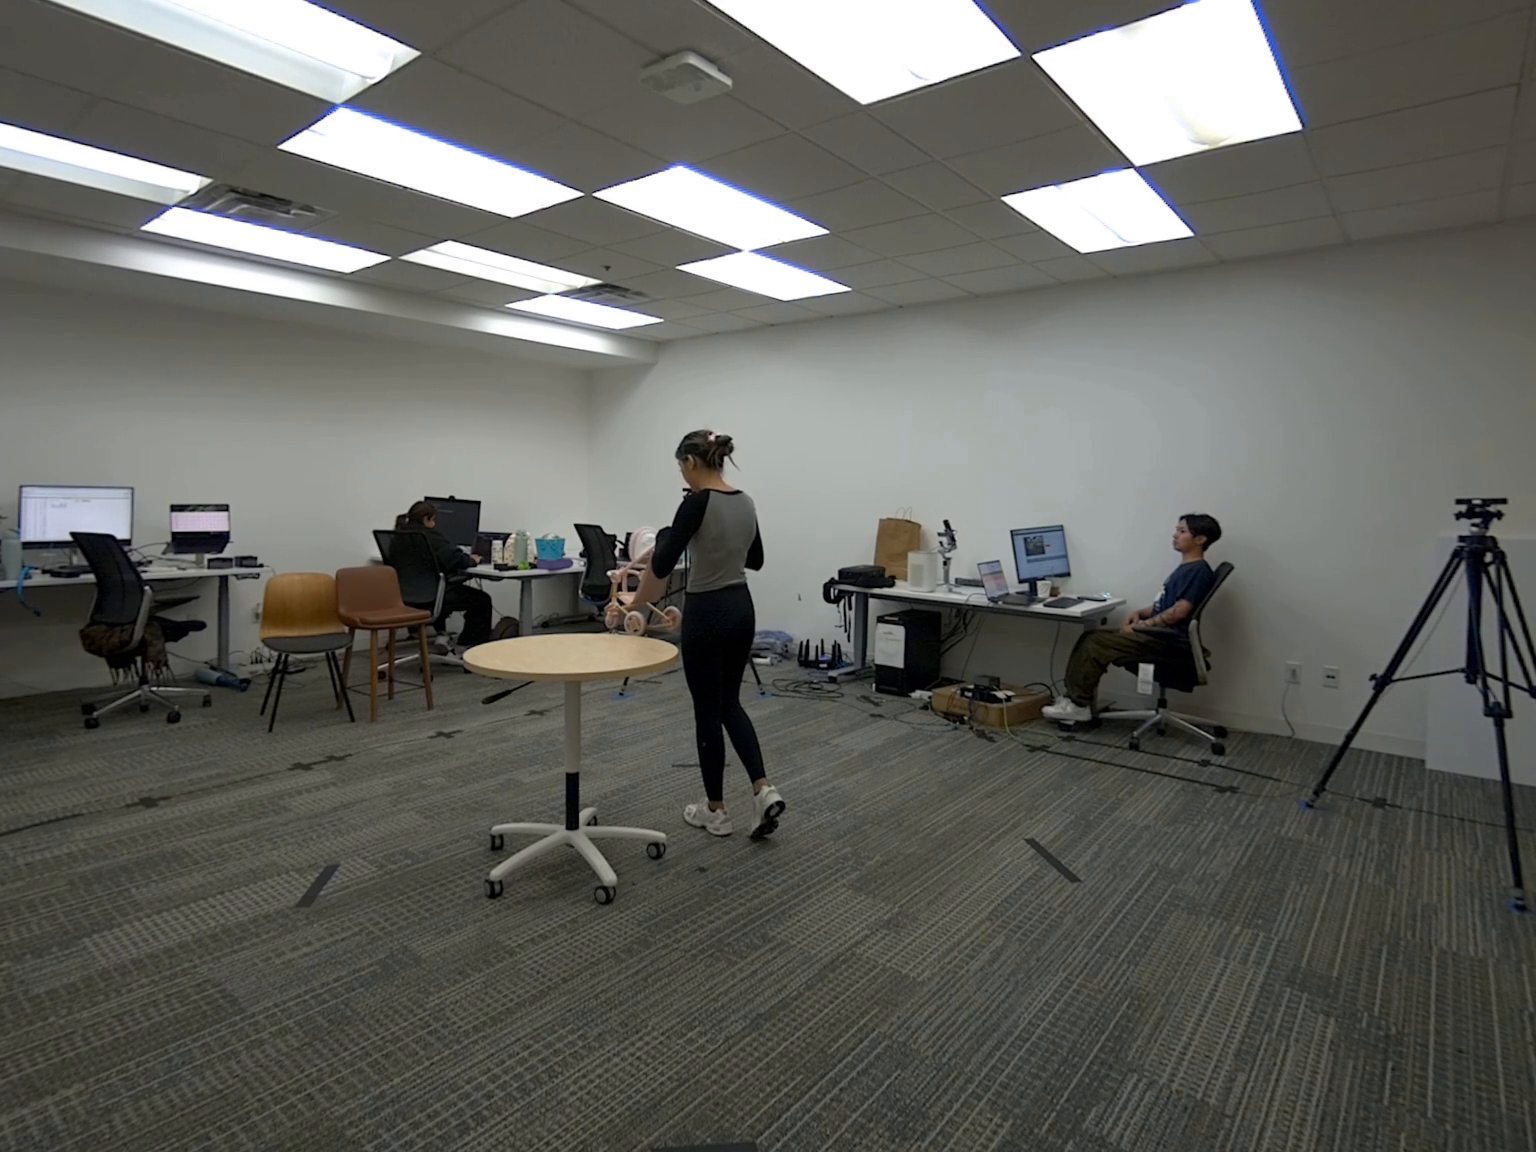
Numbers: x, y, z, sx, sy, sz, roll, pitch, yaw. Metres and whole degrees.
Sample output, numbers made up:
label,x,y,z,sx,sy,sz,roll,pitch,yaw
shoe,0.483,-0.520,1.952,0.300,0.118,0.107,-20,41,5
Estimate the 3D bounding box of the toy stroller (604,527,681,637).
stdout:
label,x,y,z,sx,sy,sz,roll,pitch,yaw
toy stroller,-0.560,0.020,3.726,0.355,0.531,0.272,21,12,36
